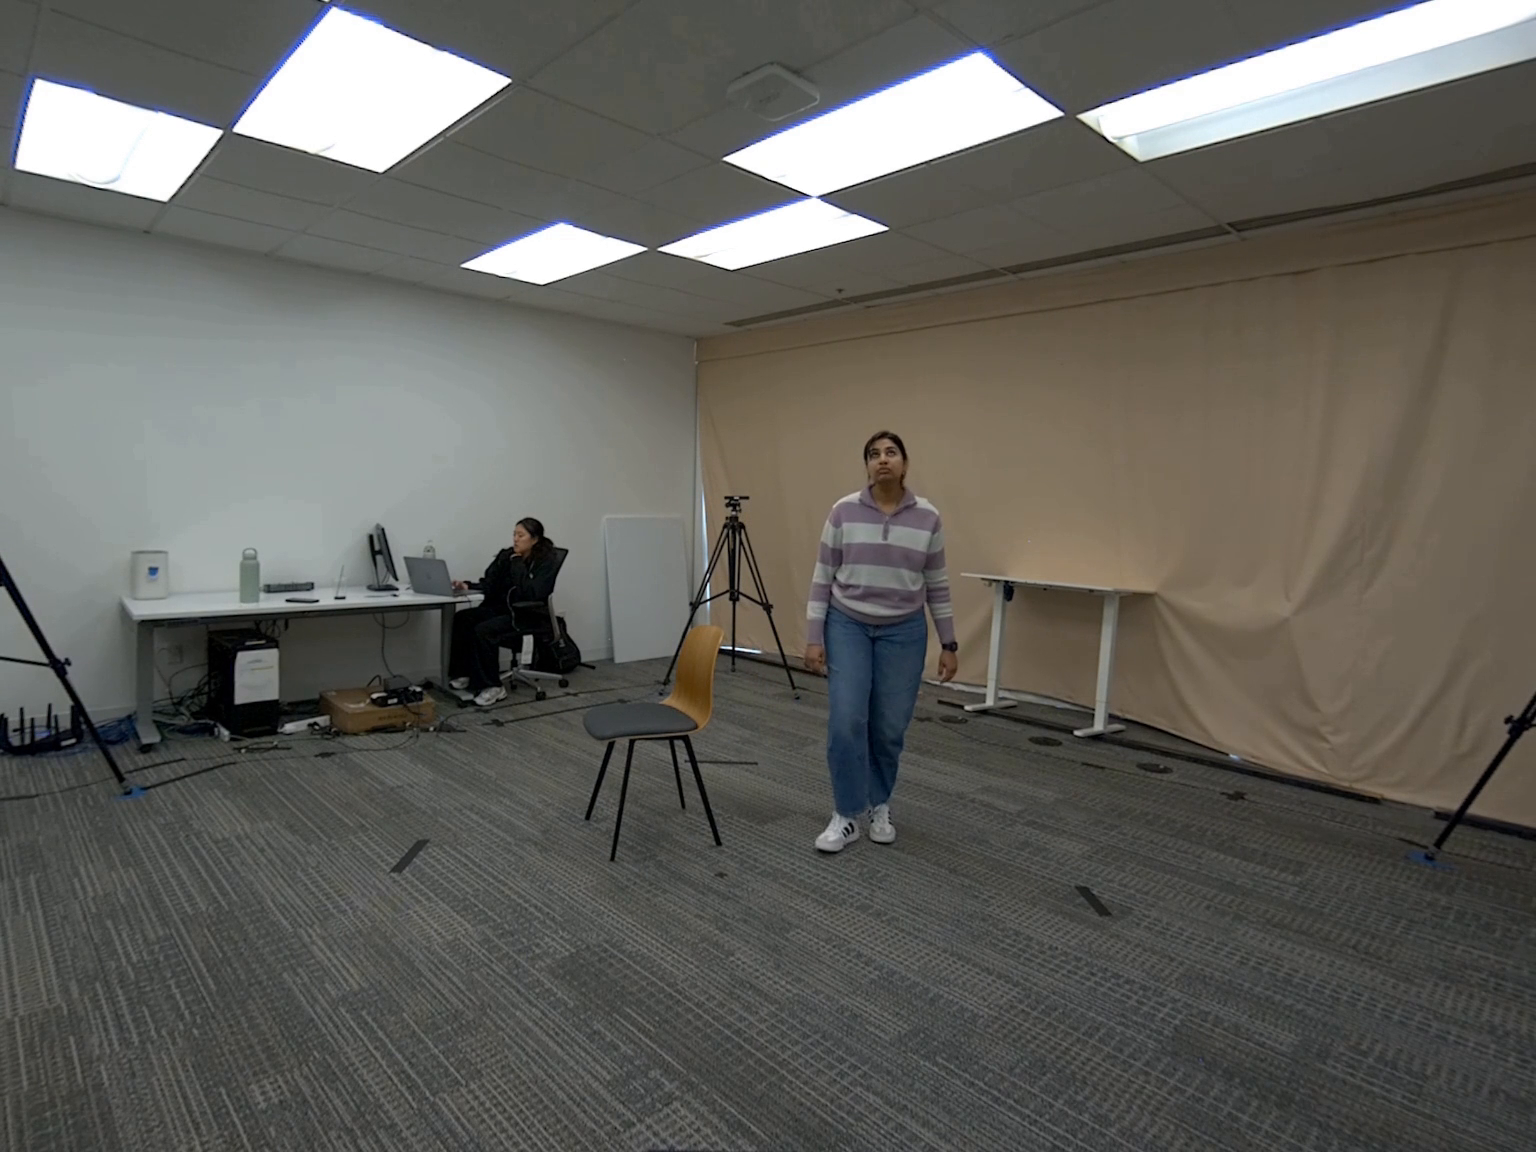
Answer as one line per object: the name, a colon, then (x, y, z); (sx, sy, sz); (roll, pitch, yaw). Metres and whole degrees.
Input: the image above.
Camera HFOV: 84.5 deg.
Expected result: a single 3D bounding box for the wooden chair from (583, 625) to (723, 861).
wooden chair: (-0.486, 0.637, 3.446); (0.513, 0.876, 0.487); (4, 2, -24)
